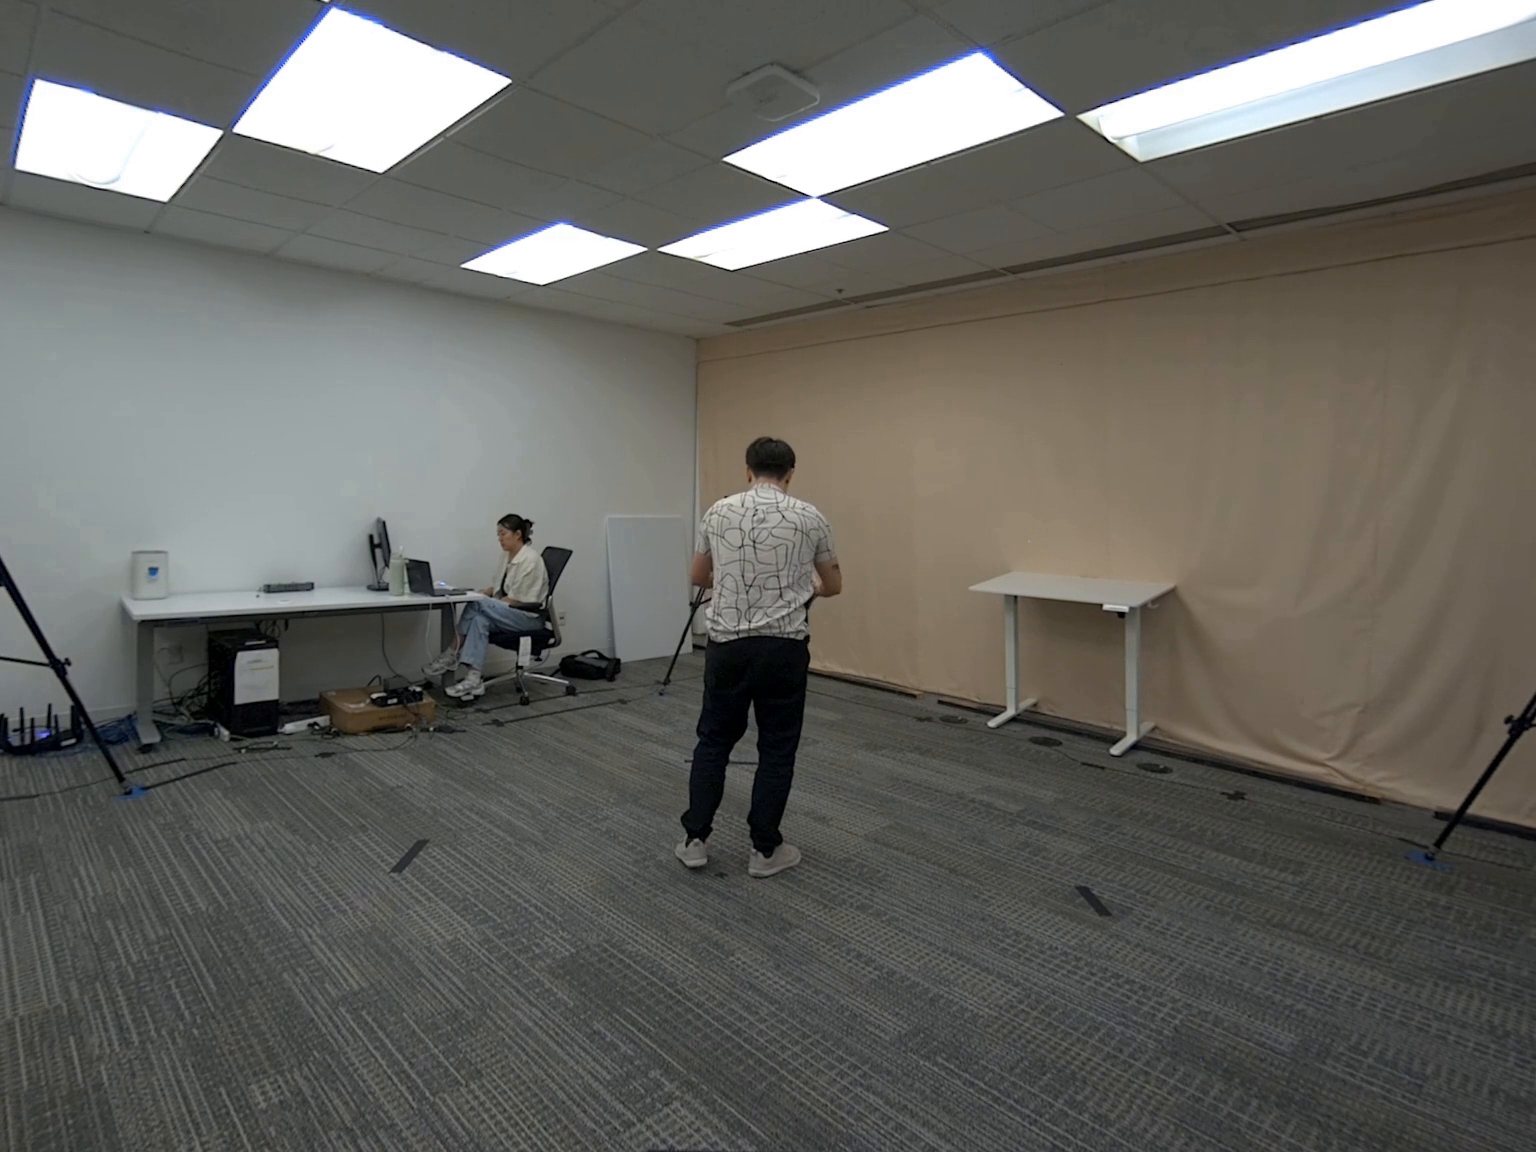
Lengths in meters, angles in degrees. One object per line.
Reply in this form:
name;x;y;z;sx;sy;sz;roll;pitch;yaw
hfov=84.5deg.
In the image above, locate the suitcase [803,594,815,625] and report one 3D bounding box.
suitcase;-0.010;0.170;3.647;0.378;0.545;0.248;5;12;8
